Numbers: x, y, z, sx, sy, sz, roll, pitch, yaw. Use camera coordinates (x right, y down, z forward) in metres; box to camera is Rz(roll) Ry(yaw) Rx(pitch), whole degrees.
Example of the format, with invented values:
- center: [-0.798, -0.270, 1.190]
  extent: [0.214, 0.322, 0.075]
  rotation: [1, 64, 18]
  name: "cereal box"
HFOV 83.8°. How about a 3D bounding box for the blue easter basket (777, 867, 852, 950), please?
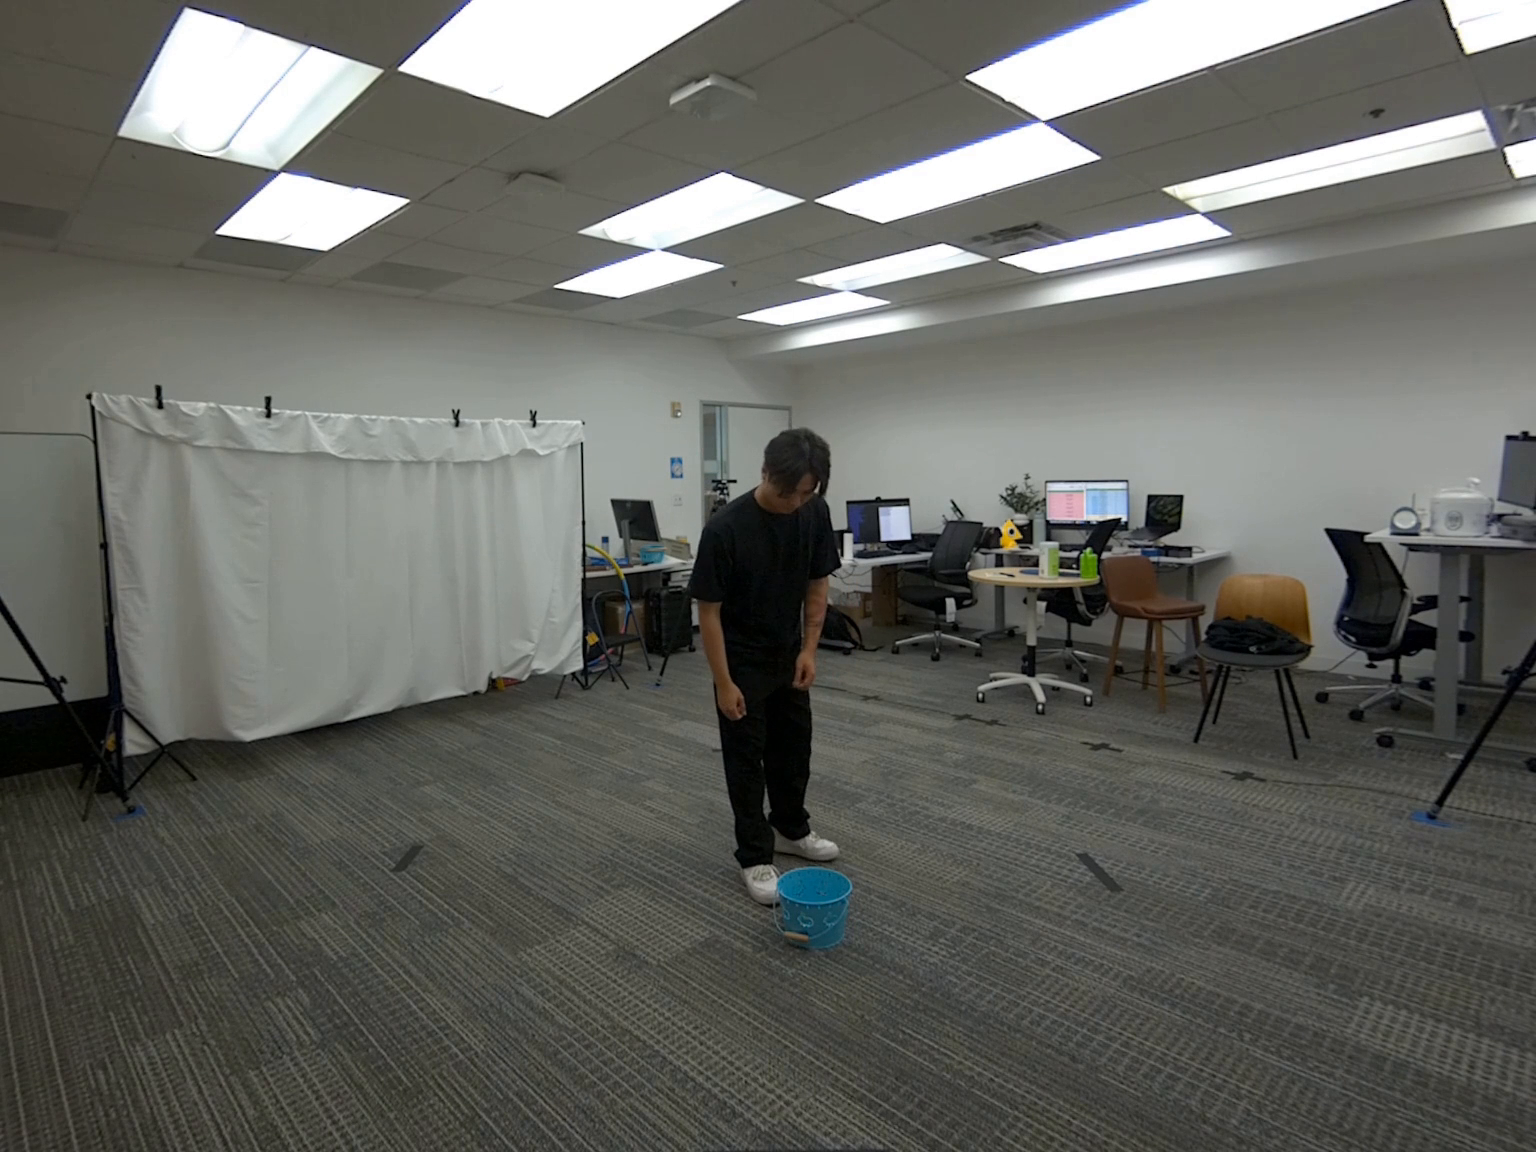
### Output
- center: [0.135, 1.023, 2.624]
  extent: [0.243, 0.155, 0.245]
  rotation: [-1, 5, -2]
  name: "blue easter basket"
